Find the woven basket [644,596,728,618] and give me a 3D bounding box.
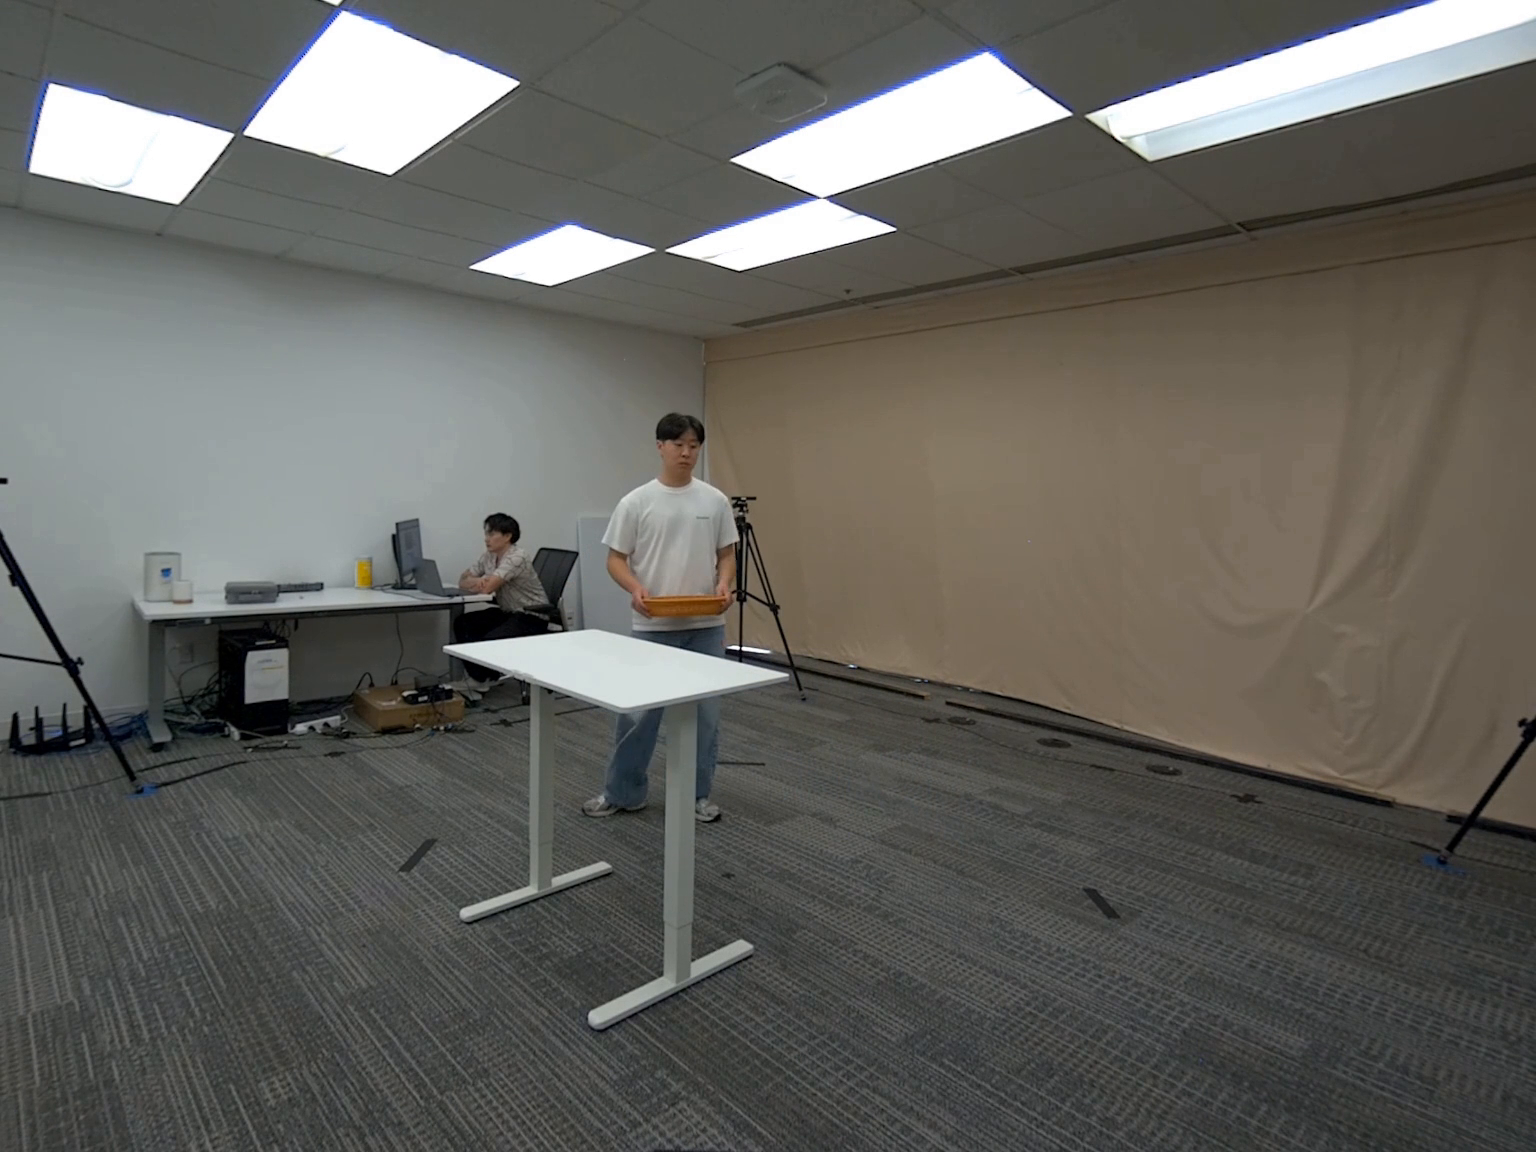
[{"bbox_3d":[-0.384,0.122,3.412,0.346,0.073,0.255,-1,2,-15],"label":"woven basket"}]
